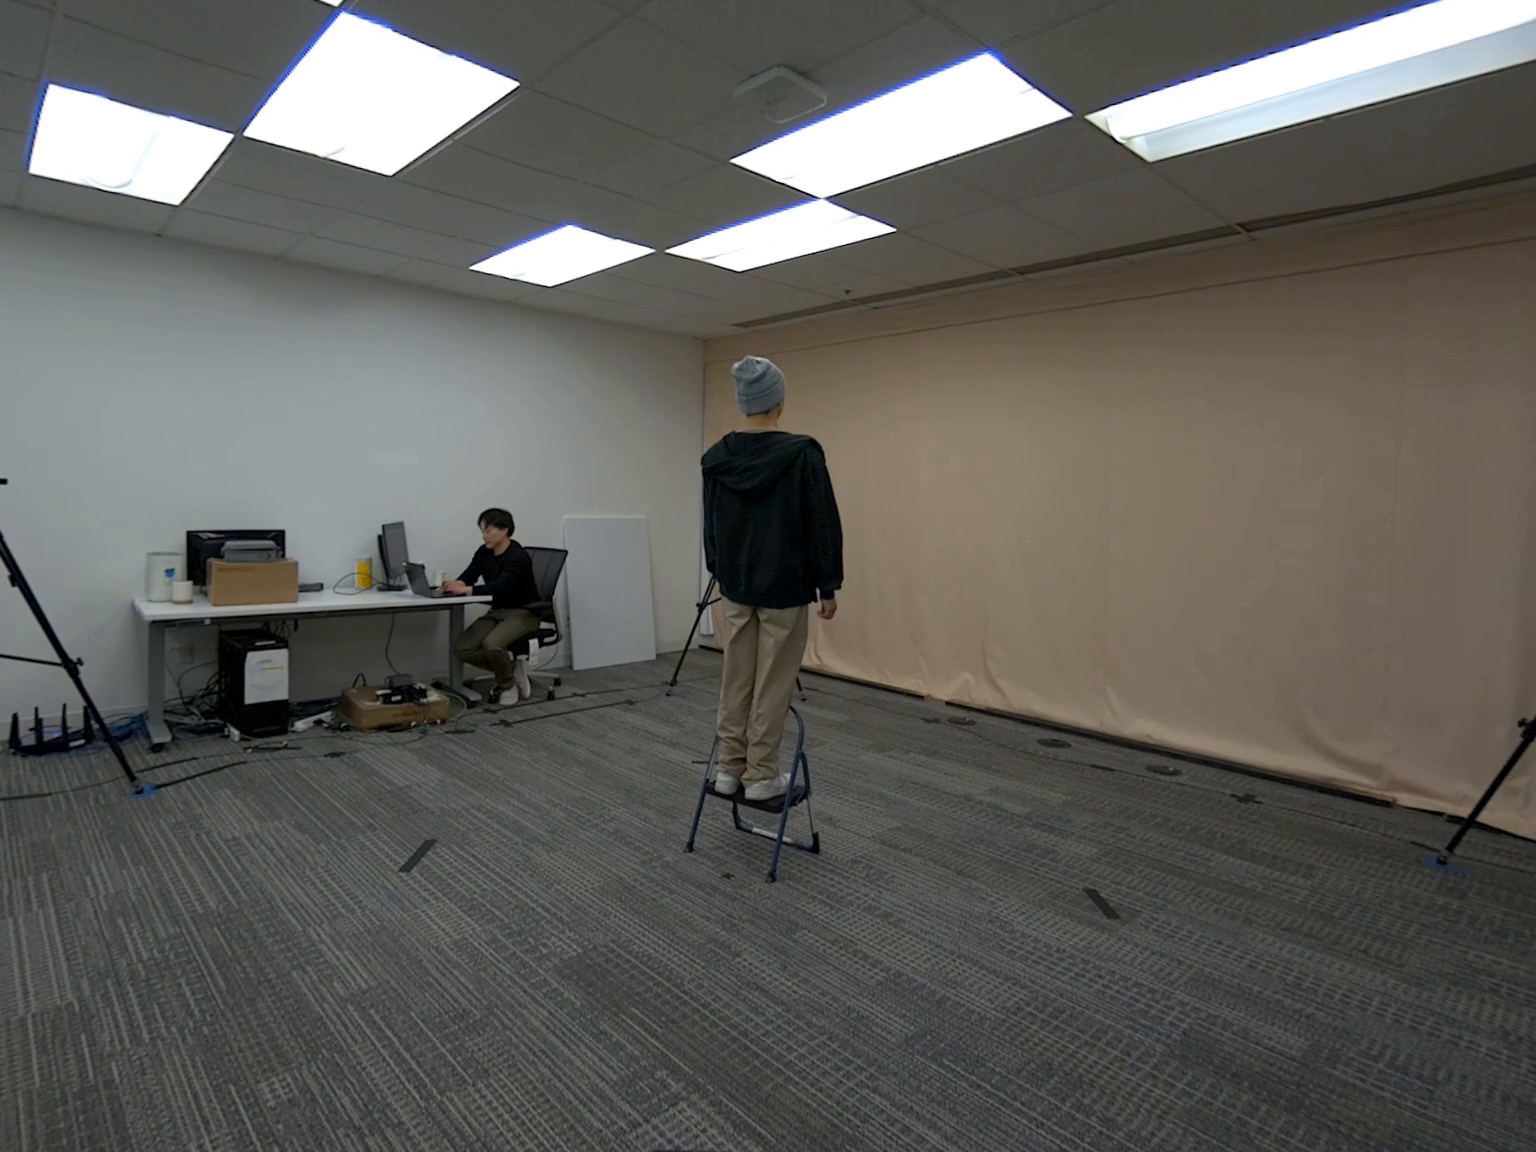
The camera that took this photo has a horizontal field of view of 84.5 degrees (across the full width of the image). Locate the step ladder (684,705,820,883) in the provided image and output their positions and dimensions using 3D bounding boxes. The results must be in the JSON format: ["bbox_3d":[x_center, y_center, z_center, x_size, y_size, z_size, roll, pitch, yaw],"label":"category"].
[{"bbox_3d":[-0.053,0.789,3.306,0.441,0.605,0.341,4,3,36],"label":"step ladder"}]
